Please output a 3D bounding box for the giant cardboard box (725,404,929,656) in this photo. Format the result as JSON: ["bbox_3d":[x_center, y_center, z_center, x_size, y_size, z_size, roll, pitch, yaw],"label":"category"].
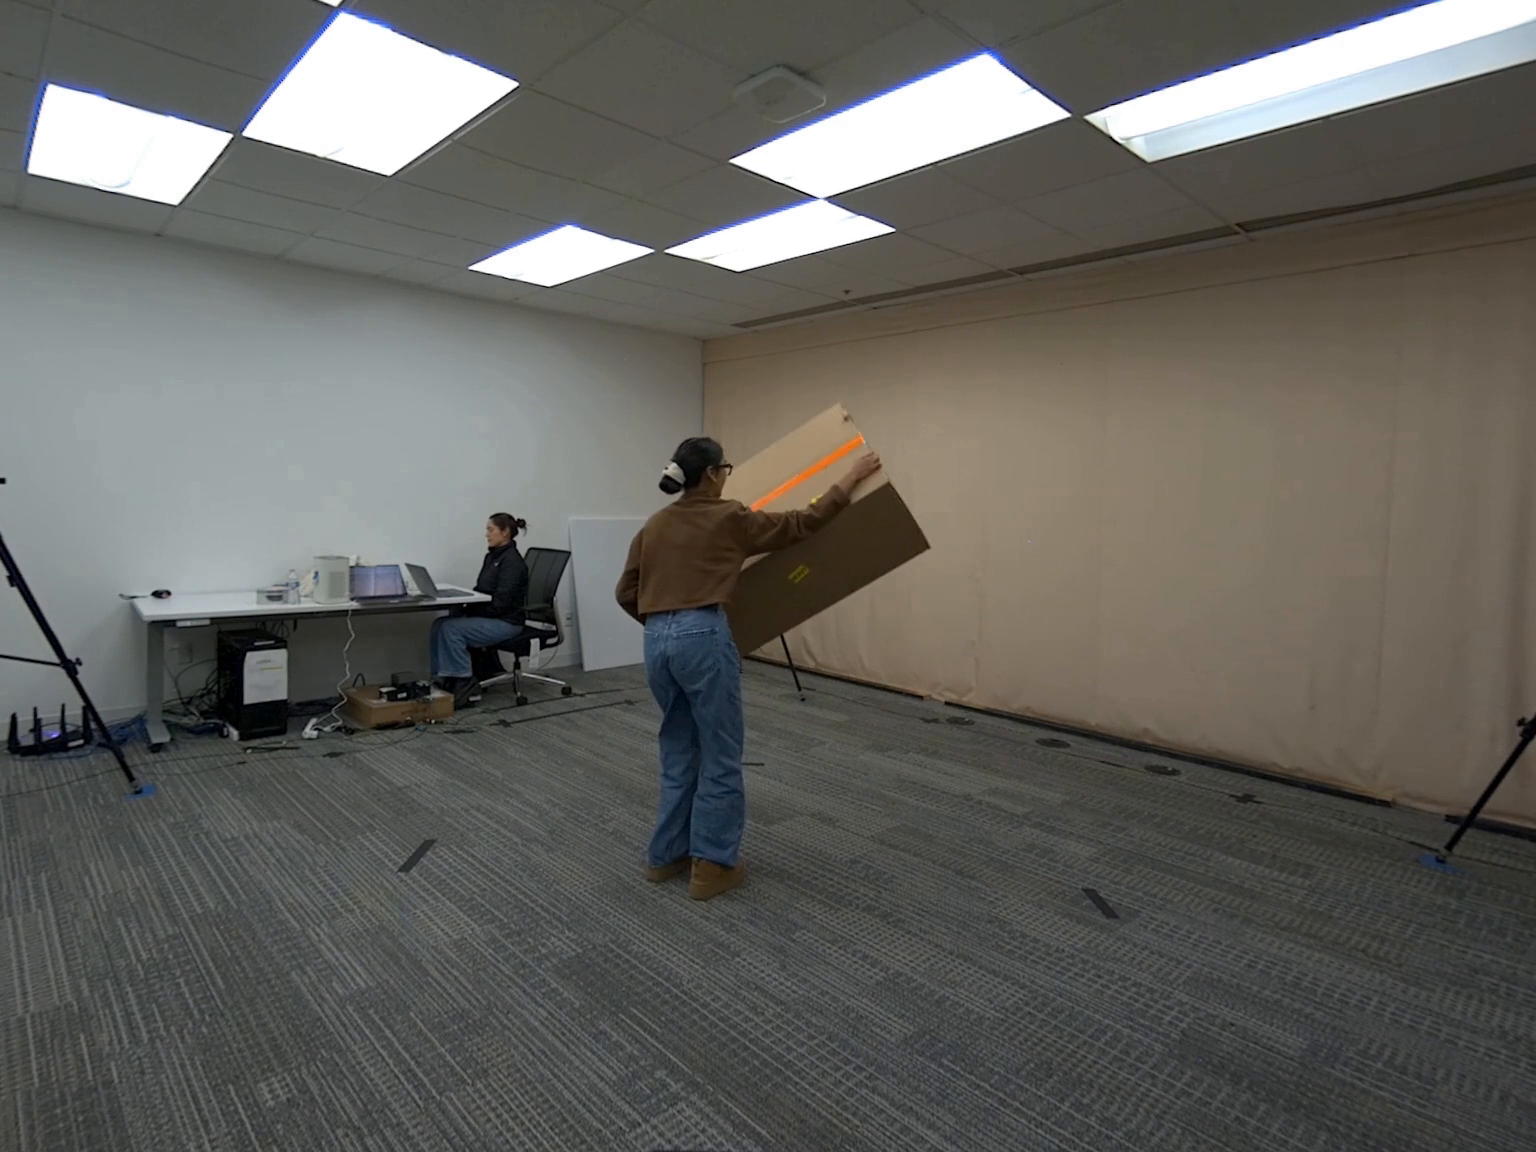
[{"bbox_3d":[0.025,-0.154,3.465,1.029,0.594,0.413,-31,-47,11],"label":"giant cardboard box"}]
